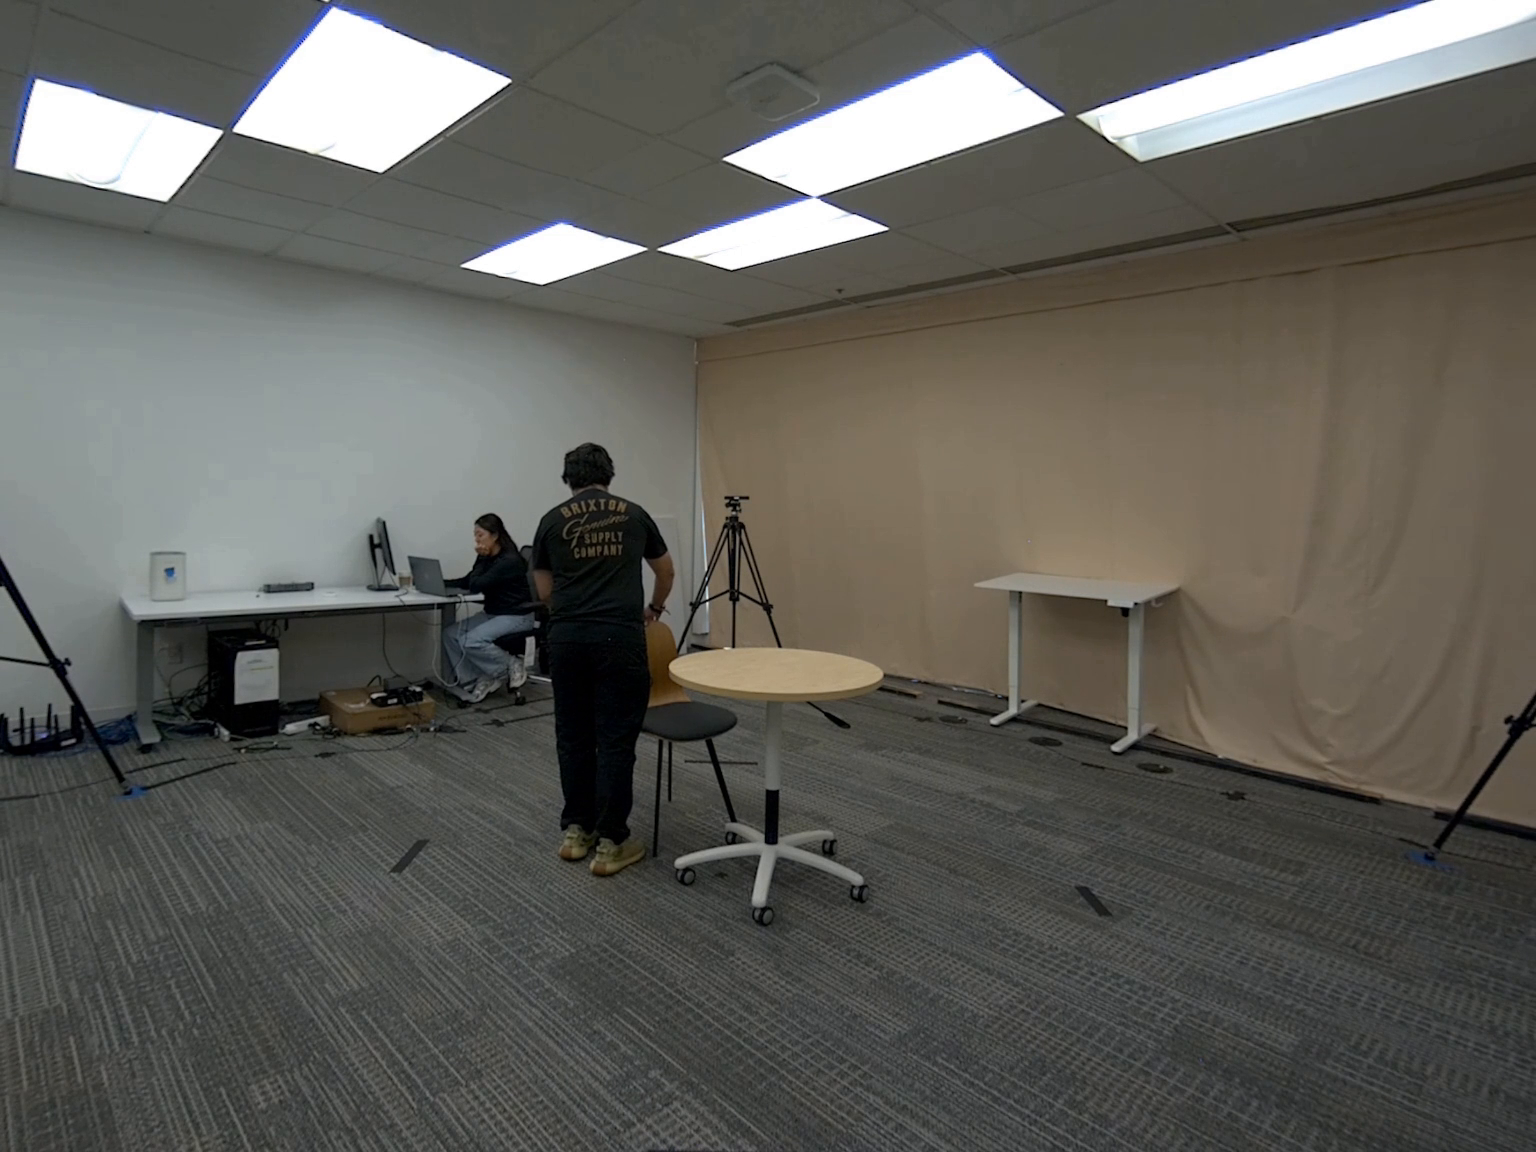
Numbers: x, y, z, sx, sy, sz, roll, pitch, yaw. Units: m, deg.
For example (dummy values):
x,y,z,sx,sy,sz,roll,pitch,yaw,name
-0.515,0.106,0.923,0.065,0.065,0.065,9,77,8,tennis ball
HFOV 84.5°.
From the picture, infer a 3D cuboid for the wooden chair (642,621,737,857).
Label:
x,y,z,sx,sy,sz,roll,pitch,yaw,name
-0.431,0.629,3.528,0.467,0.877,0.535,-1,0,-45,wooden chair
